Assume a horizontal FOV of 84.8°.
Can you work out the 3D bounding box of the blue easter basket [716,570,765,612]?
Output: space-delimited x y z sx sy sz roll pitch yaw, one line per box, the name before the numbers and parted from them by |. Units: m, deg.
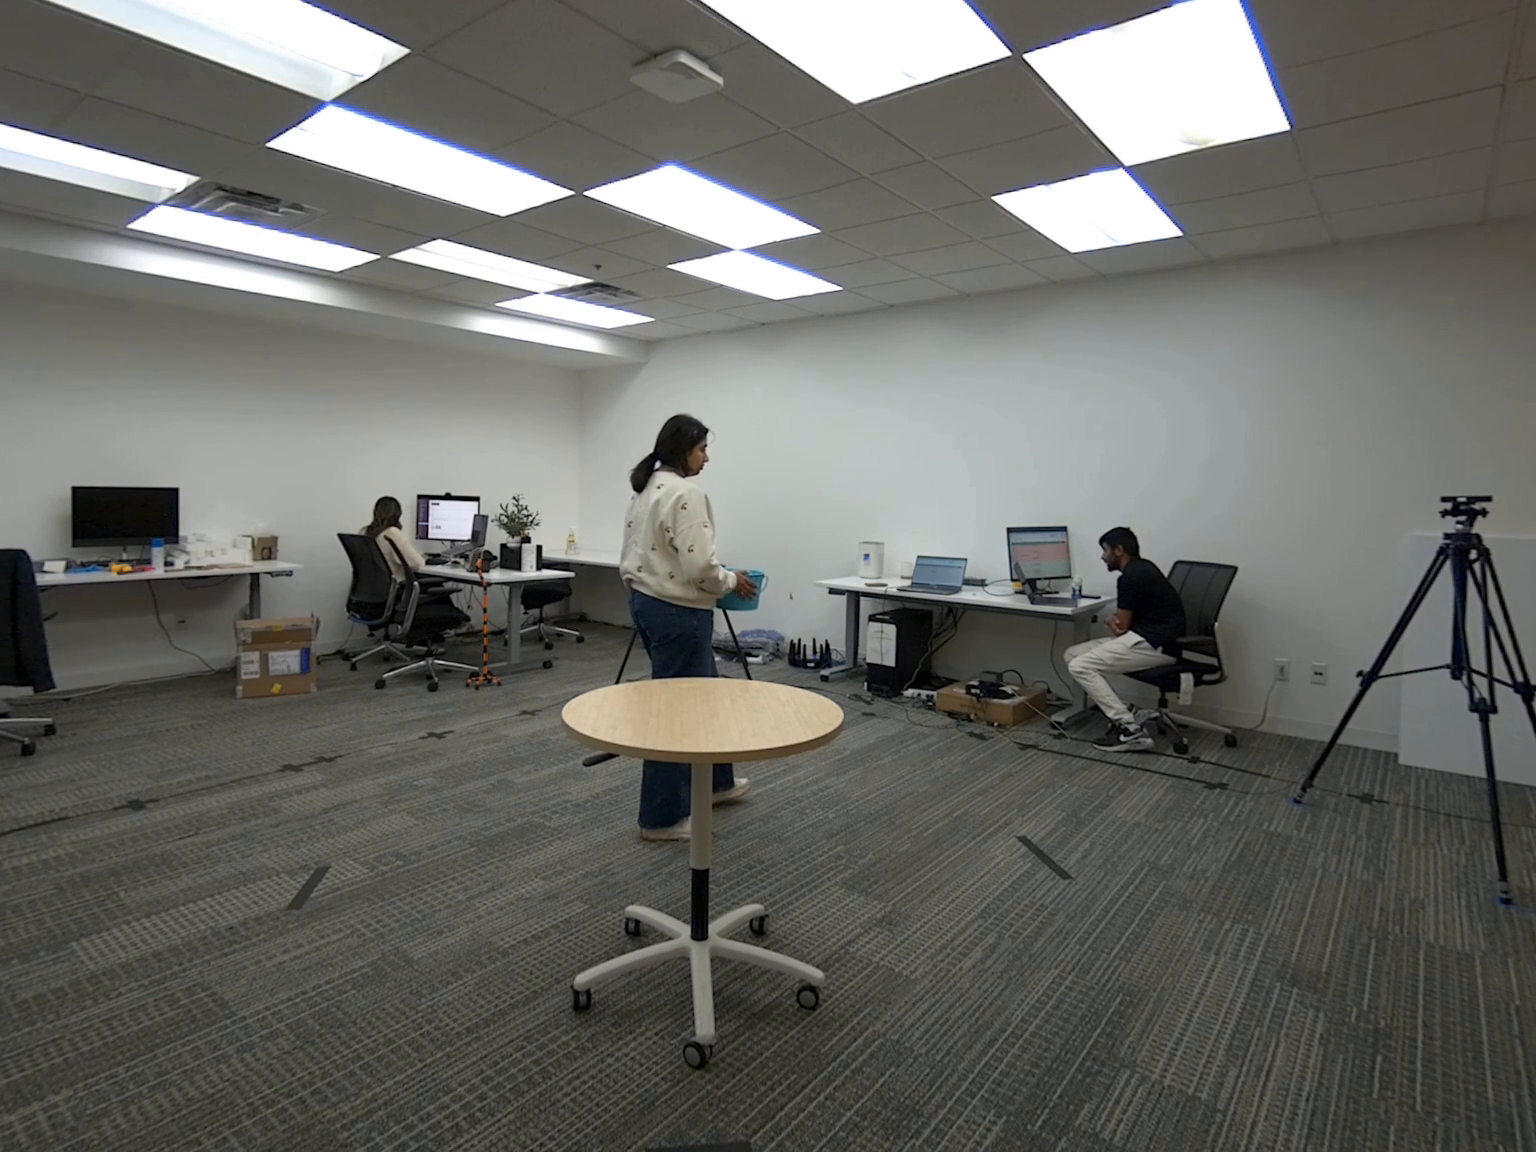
blue easter basket | -0.132 0.055 3.559 0.243 0.155 0.245 1 7 -2
